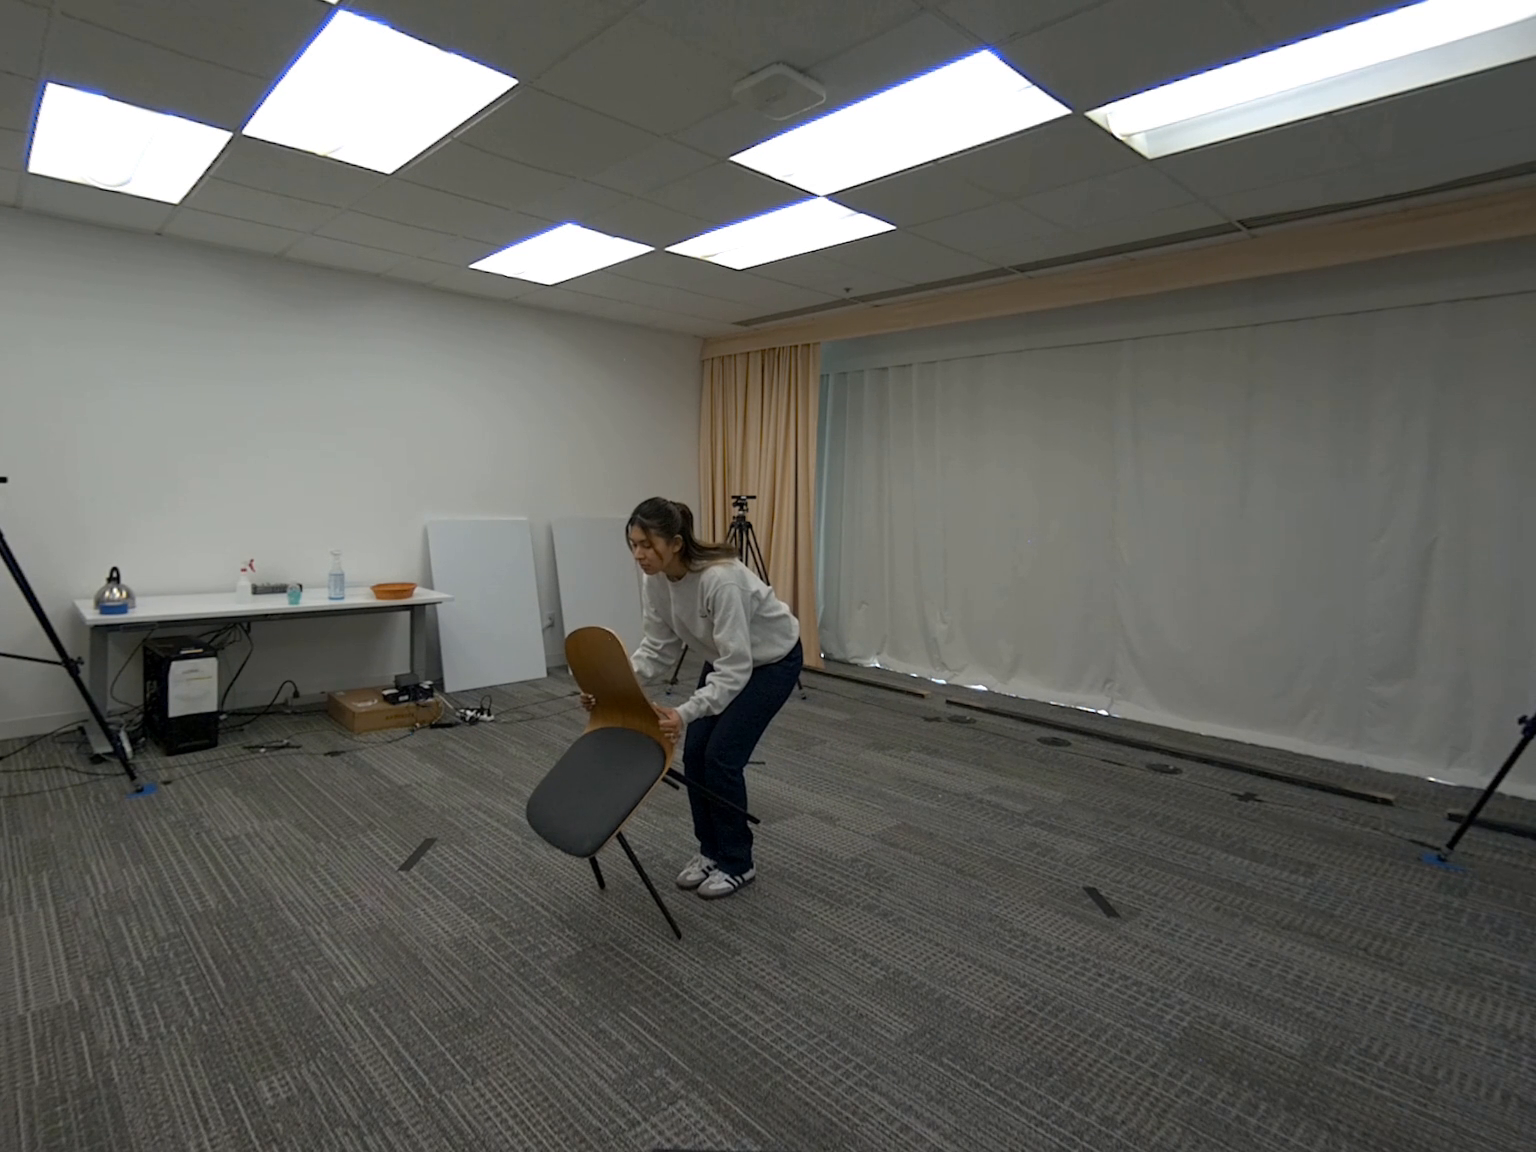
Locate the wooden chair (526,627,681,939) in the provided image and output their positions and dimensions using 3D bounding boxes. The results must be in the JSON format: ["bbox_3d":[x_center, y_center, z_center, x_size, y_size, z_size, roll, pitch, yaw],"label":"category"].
[{"bbox_3d":[-0.507,0.665,2.698,0.490,0.856,0.522,6,42,46],"label":"wooden chair"}]
